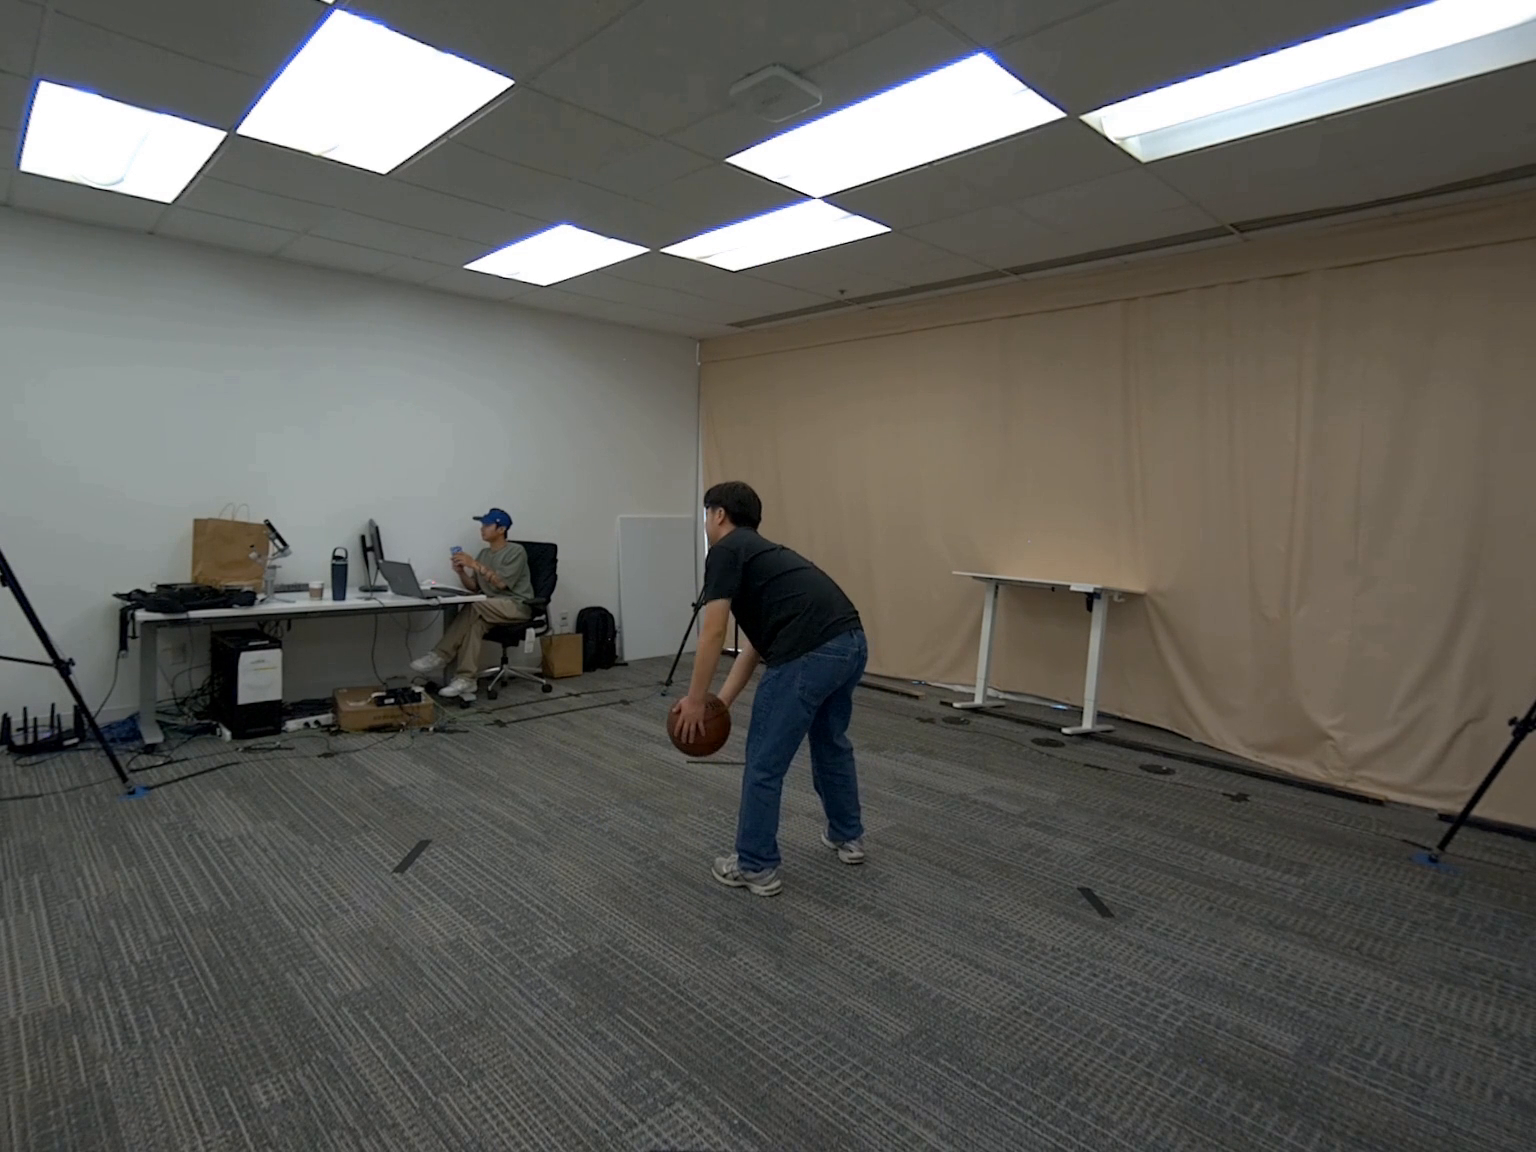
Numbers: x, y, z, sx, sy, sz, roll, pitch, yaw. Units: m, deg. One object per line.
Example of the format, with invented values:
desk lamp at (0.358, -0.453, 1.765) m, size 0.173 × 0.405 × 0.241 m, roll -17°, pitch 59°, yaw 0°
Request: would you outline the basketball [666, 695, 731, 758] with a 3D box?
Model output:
basketball at (-0.251, 0.539, 3.110) m, size 0.236 × 0.235 × 0.237 m, roll 1°, pitch 4°, yaw -1°
